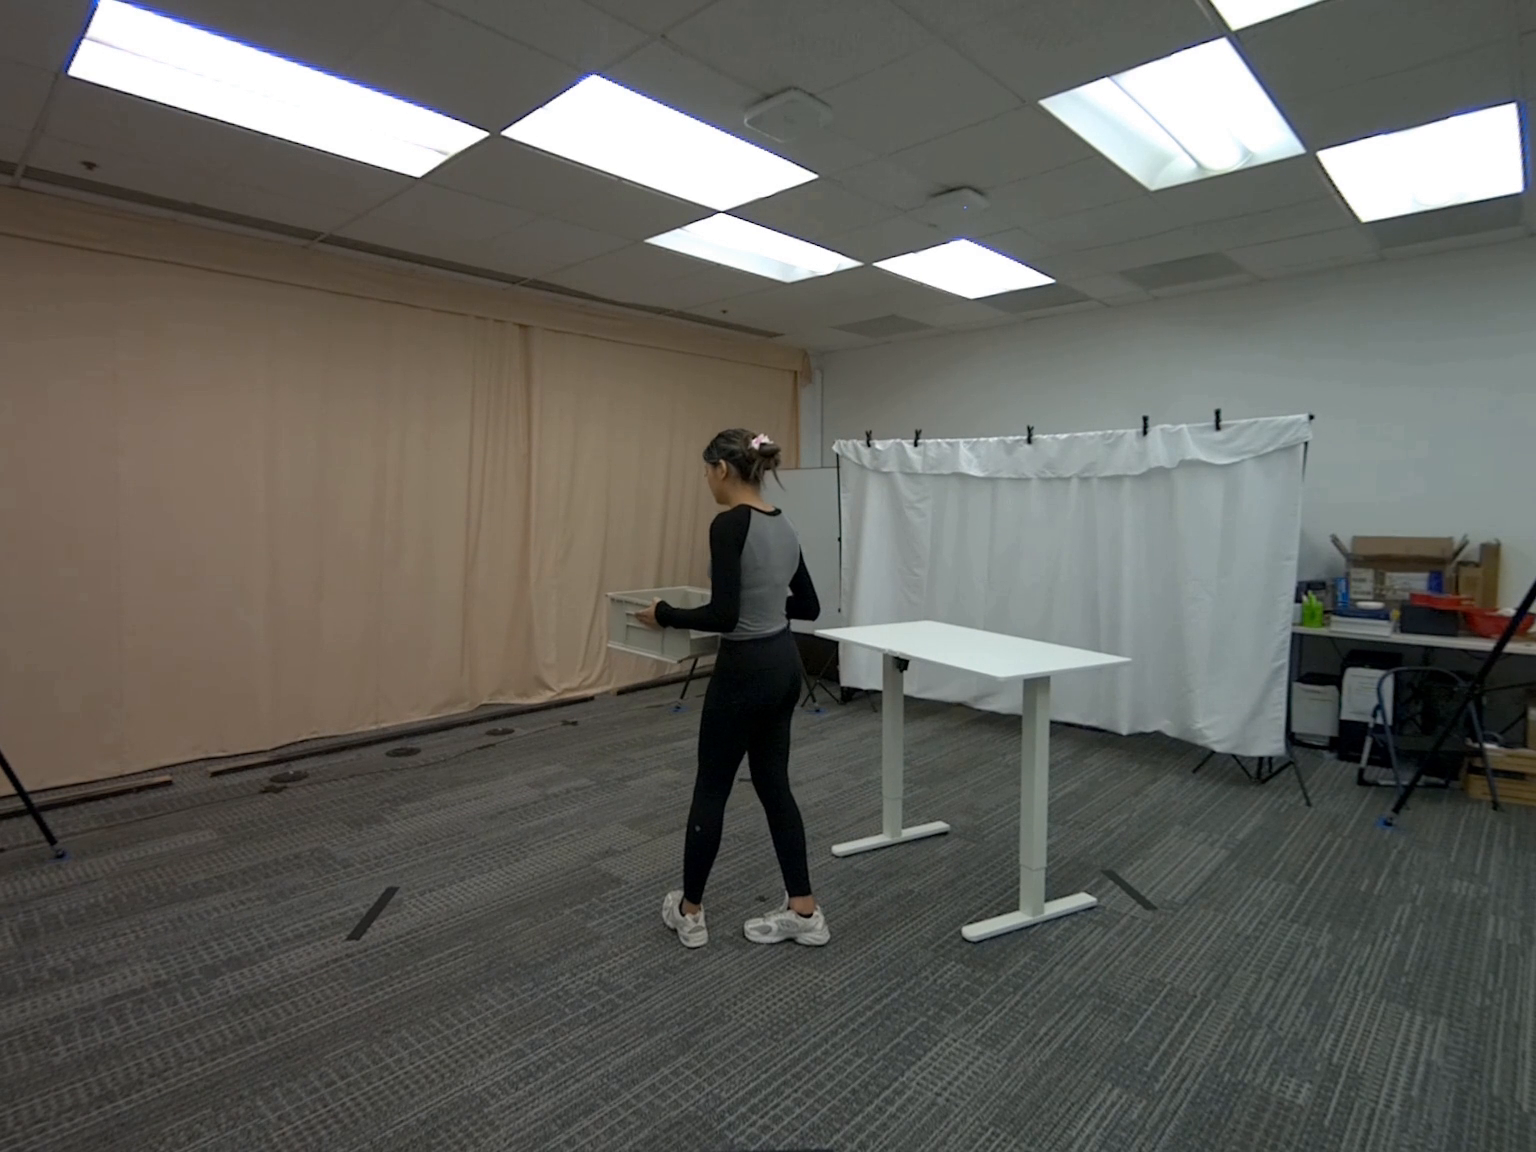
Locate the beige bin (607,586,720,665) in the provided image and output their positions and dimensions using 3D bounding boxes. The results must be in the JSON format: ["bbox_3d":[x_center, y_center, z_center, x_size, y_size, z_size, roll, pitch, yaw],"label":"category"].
[{"bbox_3d":[-0.271,0.162,2.867,0.390,0.188,0.410,6,6,35],"label":"beige bin"}]
